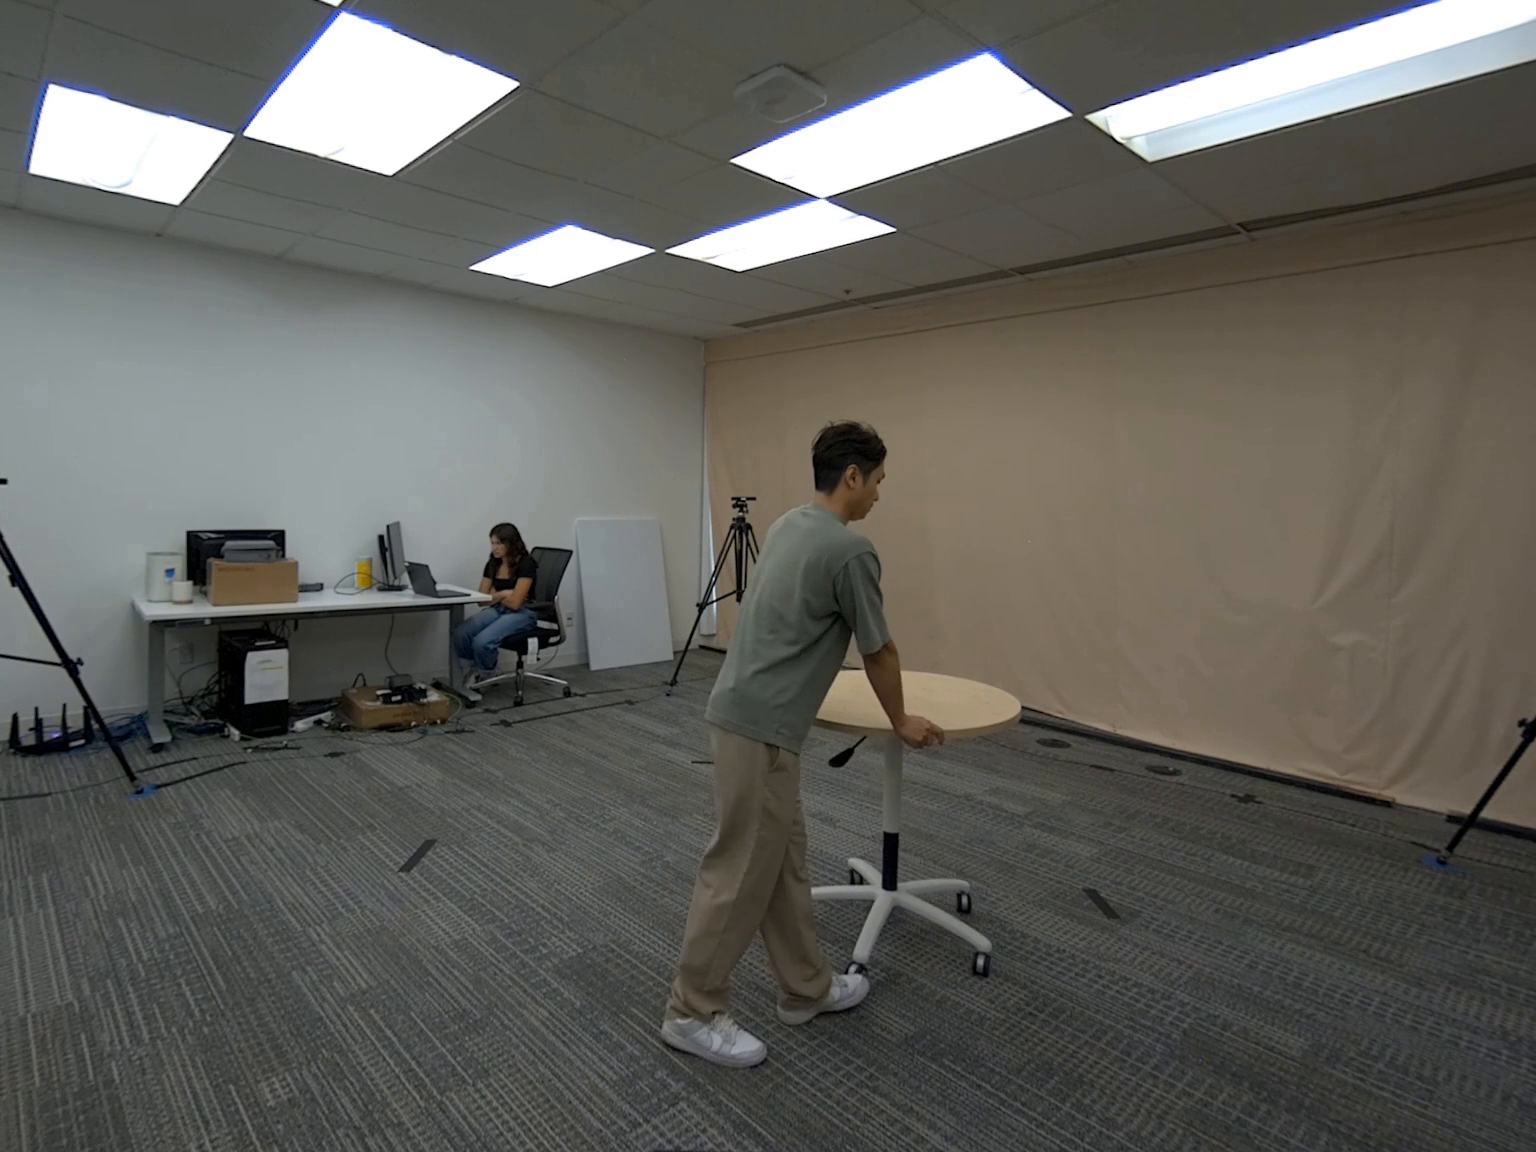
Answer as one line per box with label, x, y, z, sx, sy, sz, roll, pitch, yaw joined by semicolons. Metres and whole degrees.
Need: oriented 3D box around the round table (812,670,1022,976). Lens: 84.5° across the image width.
round table;0.410;0.769;2.721;0.784;0.784;0.788;1;5;-1
